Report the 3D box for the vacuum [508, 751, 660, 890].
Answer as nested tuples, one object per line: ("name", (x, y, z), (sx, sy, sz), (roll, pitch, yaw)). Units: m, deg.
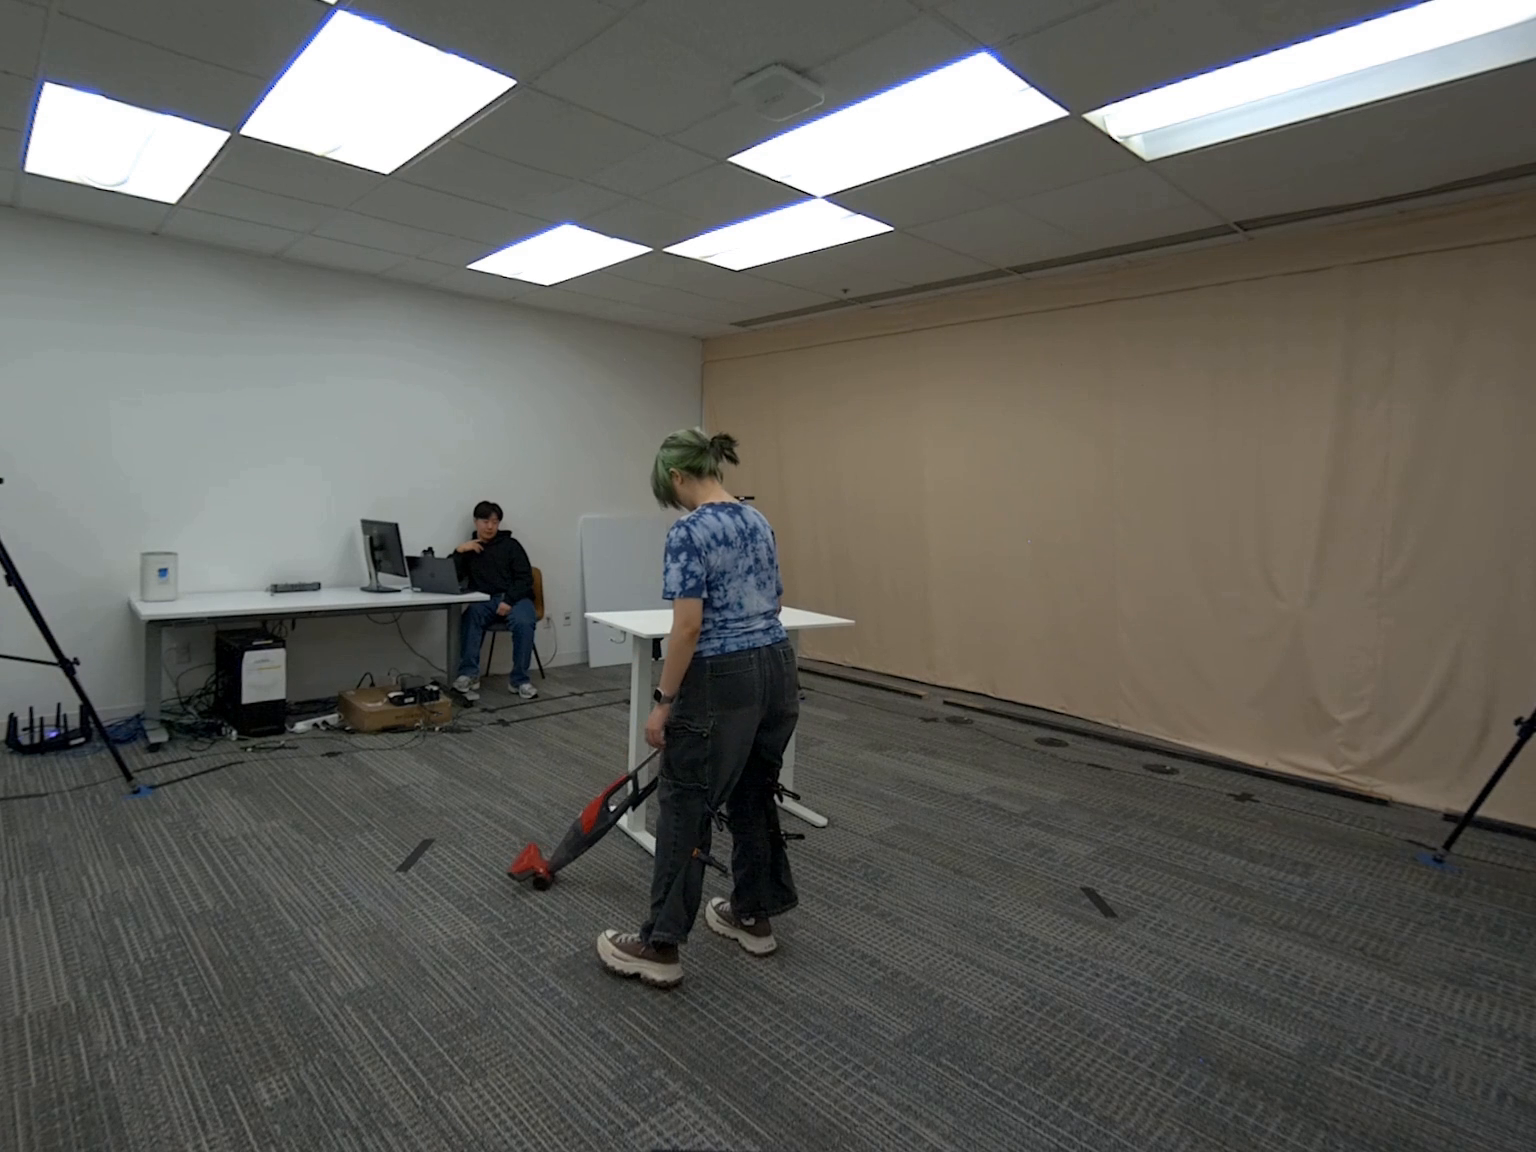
("vacuum", (-0.466, 0.734, 2.953), (1.050, 0.144, 0.253), (-40, 3, 6))
